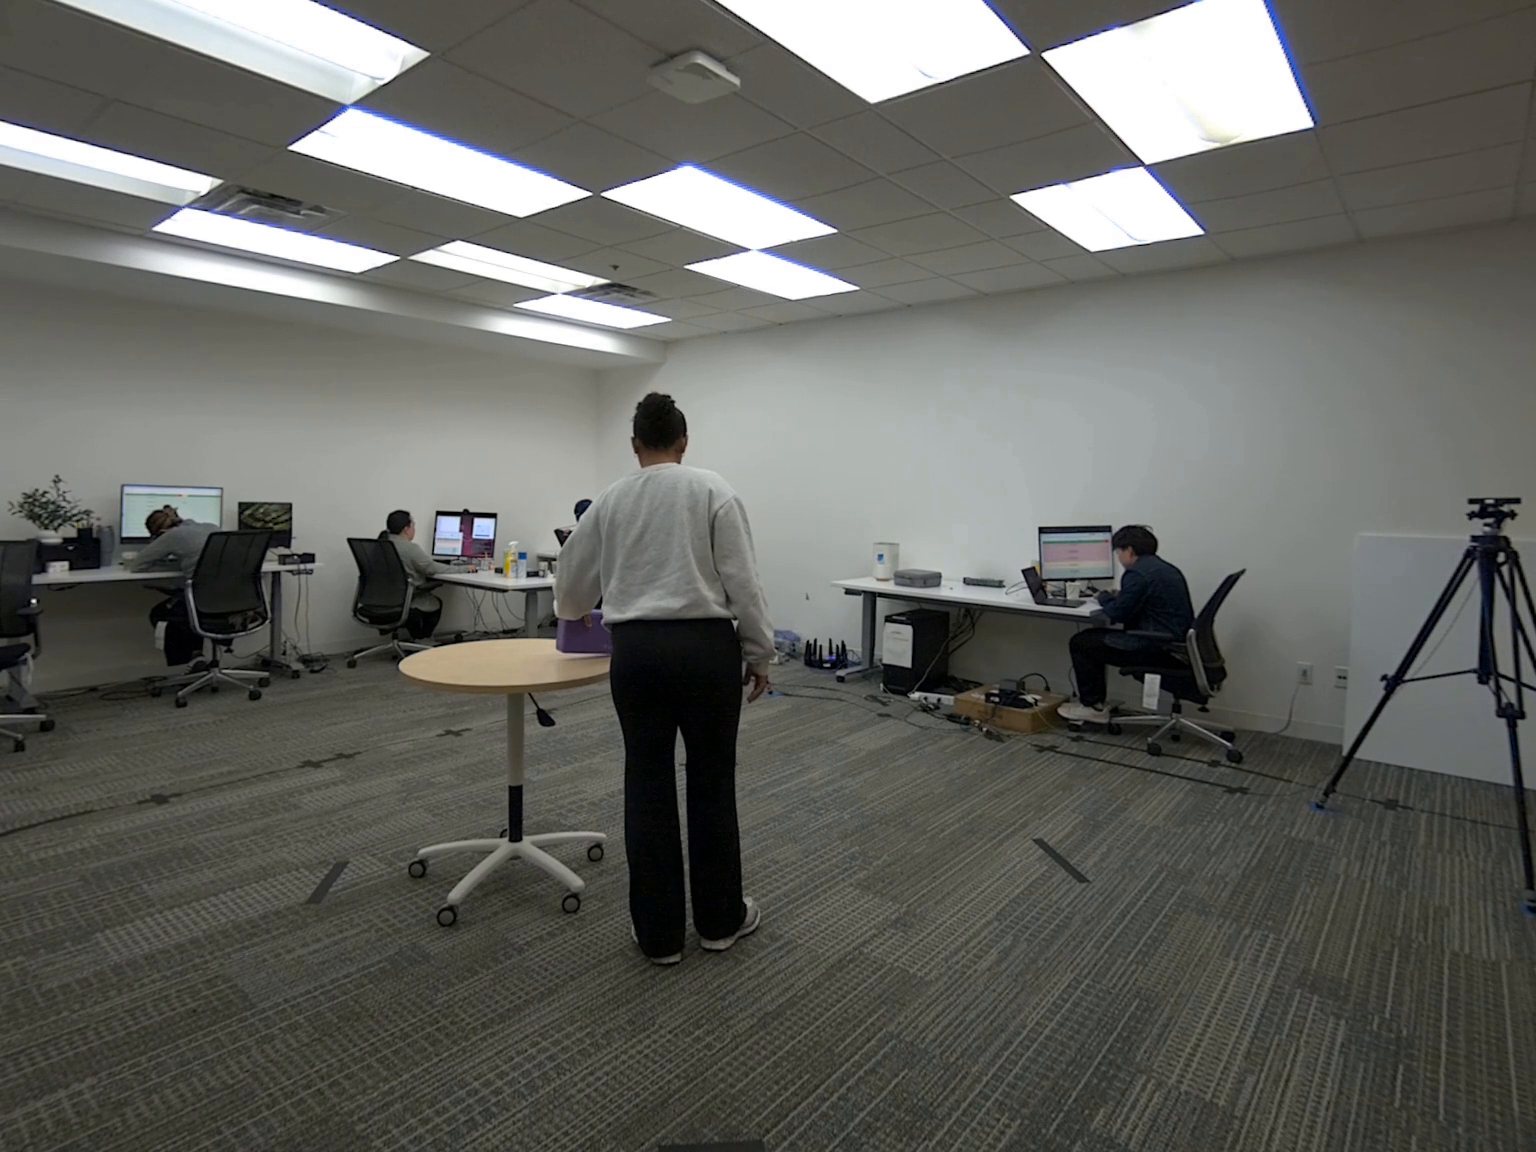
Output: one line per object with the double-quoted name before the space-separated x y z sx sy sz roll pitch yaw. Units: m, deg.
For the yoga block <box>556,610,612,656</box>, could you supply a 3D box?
"yoga block" -0.615 0.189 2.999 0.223 0.149 0.079 2 3 -28
